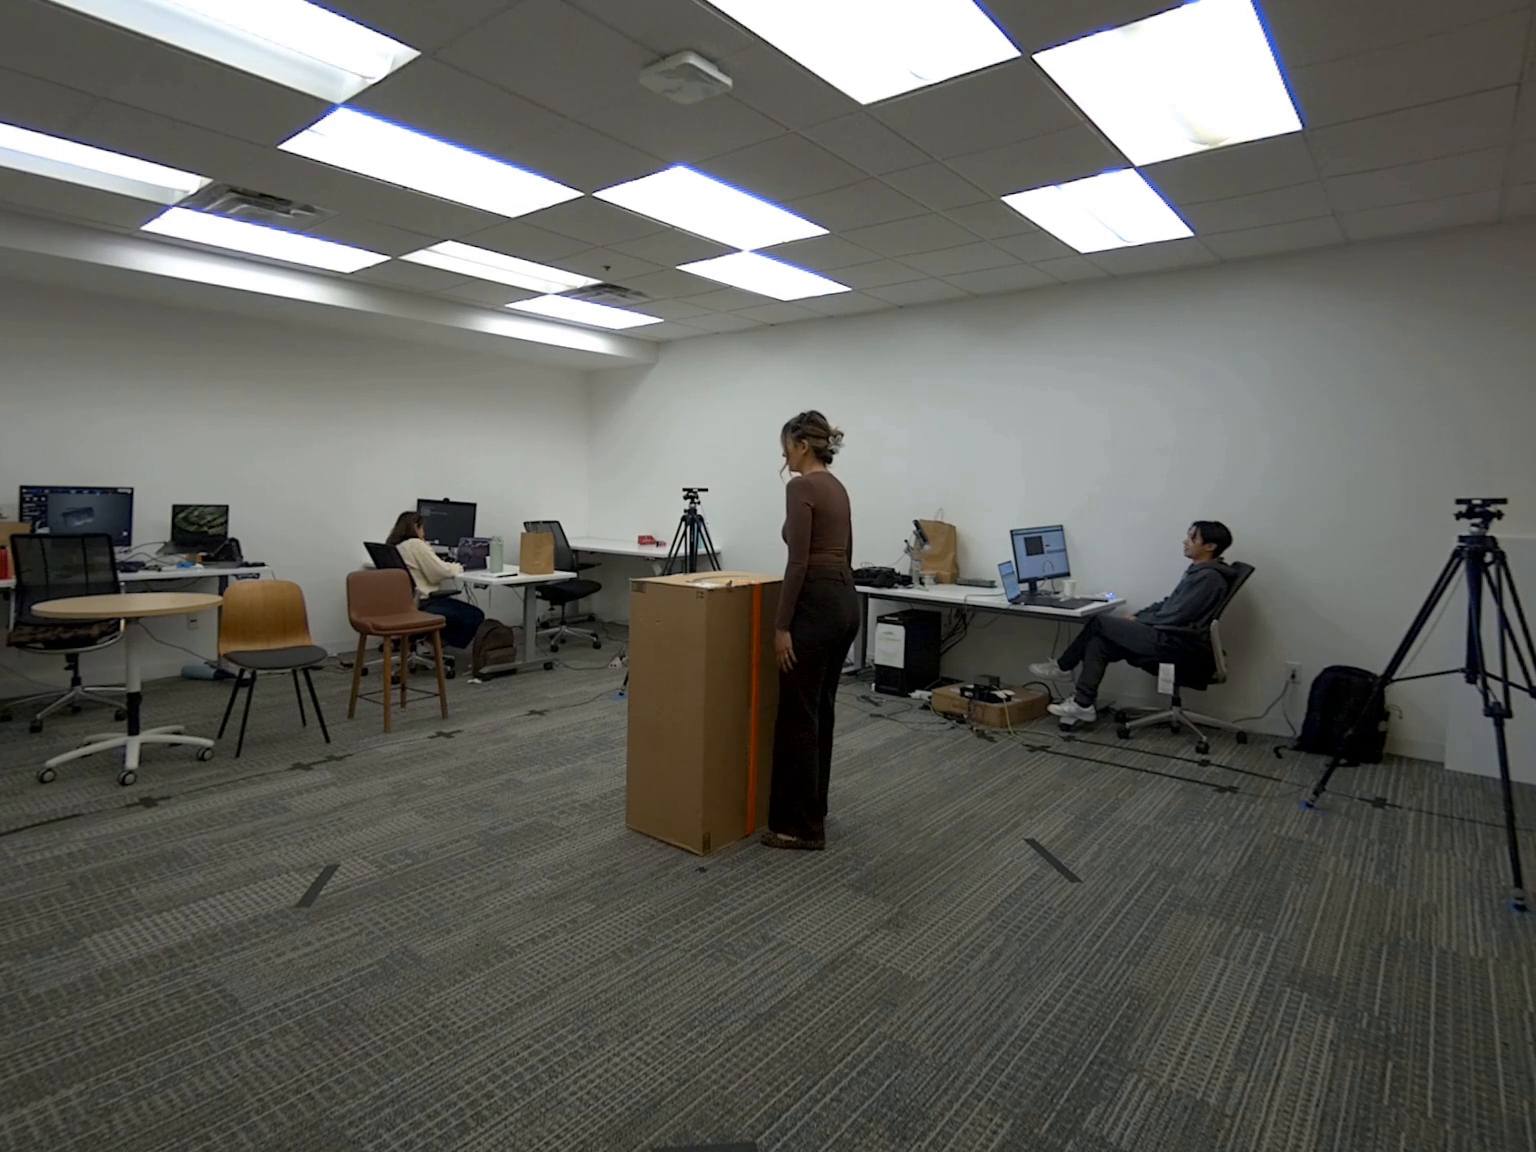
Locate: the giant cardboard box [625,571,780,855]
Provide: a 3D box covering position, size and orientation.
[{"bbox_3d":[-0.247,0.516,3.539,0.462,1.024,0.566,4,5,39],"label":"giant cardboard box"}]
